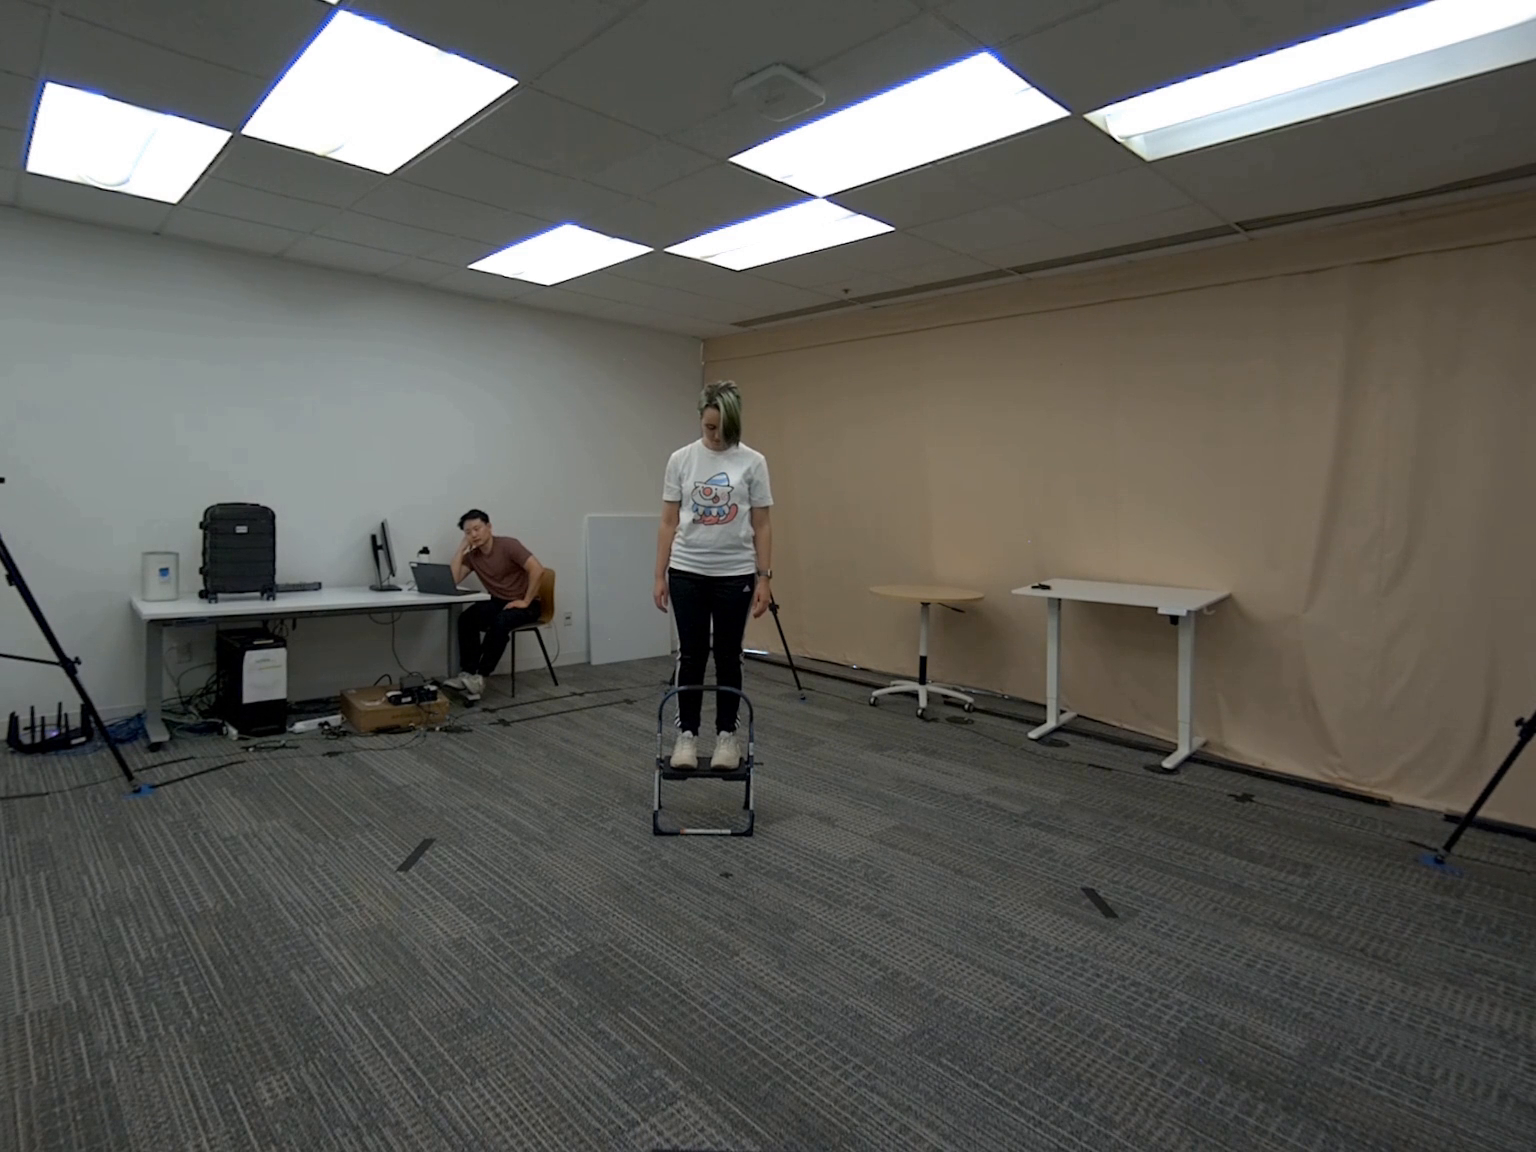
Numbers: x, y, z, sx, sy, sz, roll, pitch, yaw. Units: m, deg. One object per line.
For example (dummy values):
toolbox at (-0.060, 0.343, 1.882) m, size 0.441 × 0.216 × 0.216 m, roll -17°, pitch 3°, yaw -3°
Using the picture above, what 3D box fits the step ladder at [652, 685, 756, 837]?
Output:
step ladder at (-0.281, 0.759, 3.614) m, size 0.429 × 0.605 × 0.351 m, roll 1°, pitch 2°, yaw -4°
